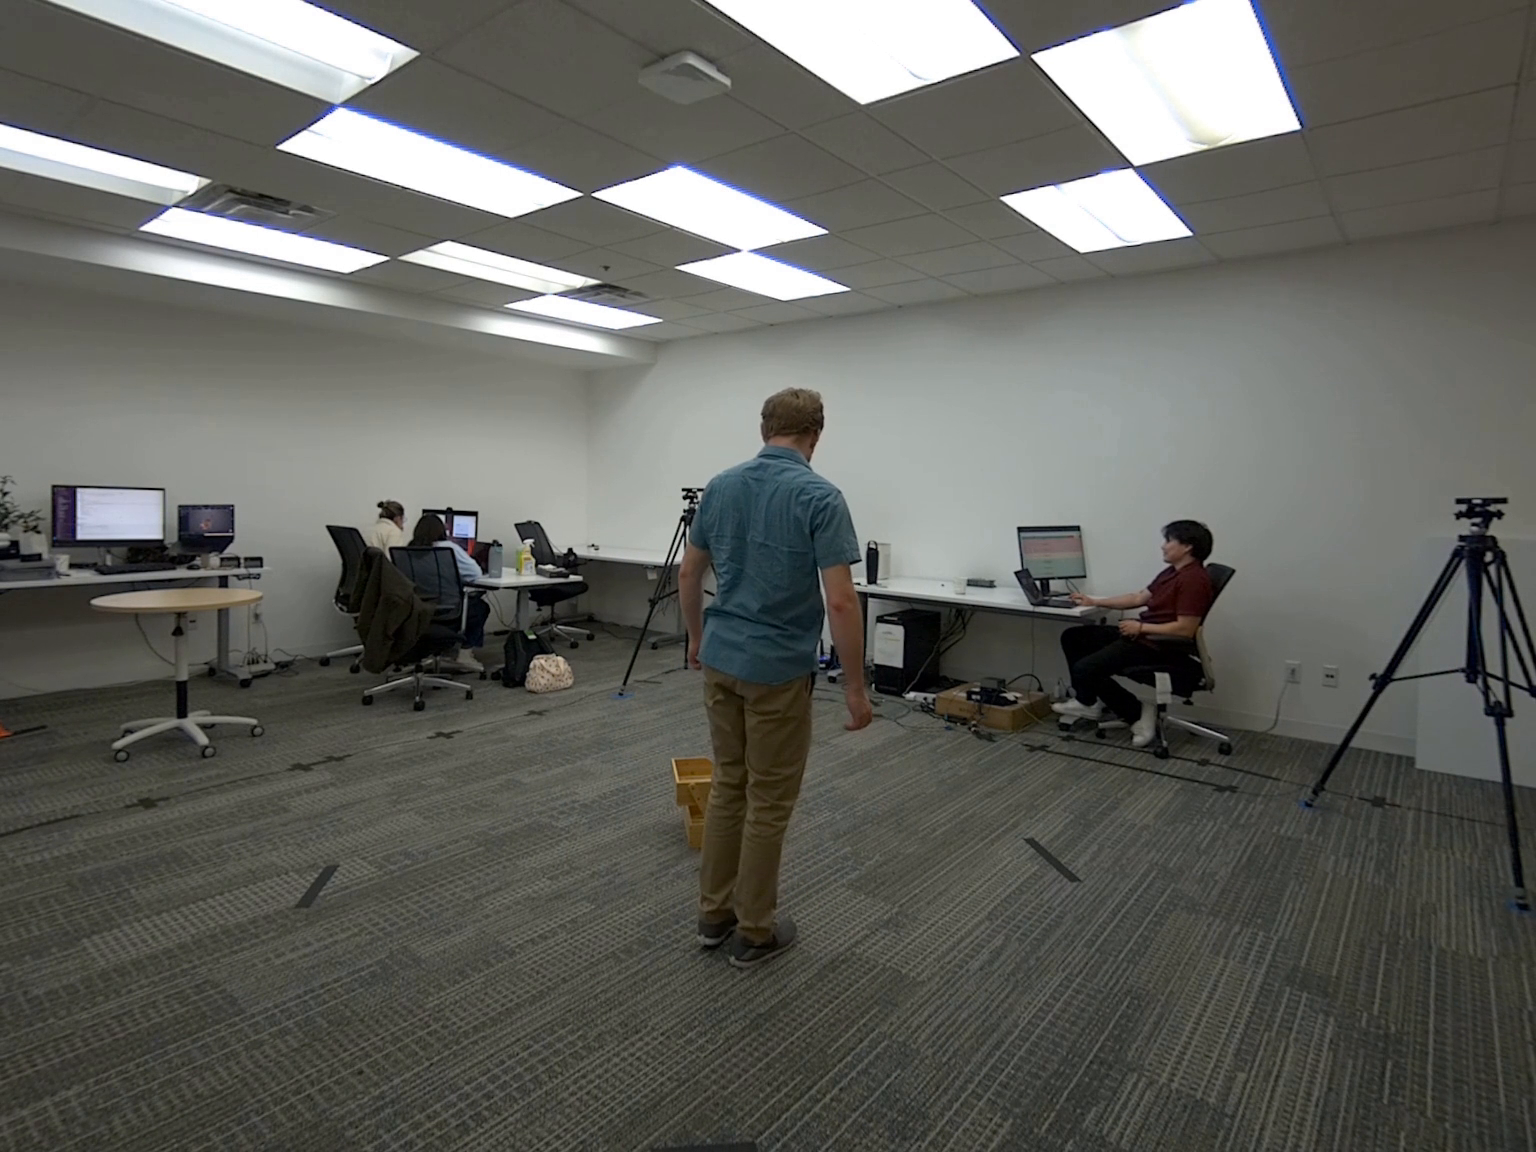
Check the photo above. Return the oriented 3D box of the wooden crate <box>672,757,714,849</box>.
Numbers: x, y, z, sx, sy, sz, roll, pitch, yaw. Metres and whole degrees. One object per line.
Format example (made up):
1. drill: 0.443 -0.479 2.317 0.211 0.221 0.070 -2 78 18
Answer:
1. wooden crate: -0.239 0.900 3.452 0.299 0.272 0.329 -1 5 -10
